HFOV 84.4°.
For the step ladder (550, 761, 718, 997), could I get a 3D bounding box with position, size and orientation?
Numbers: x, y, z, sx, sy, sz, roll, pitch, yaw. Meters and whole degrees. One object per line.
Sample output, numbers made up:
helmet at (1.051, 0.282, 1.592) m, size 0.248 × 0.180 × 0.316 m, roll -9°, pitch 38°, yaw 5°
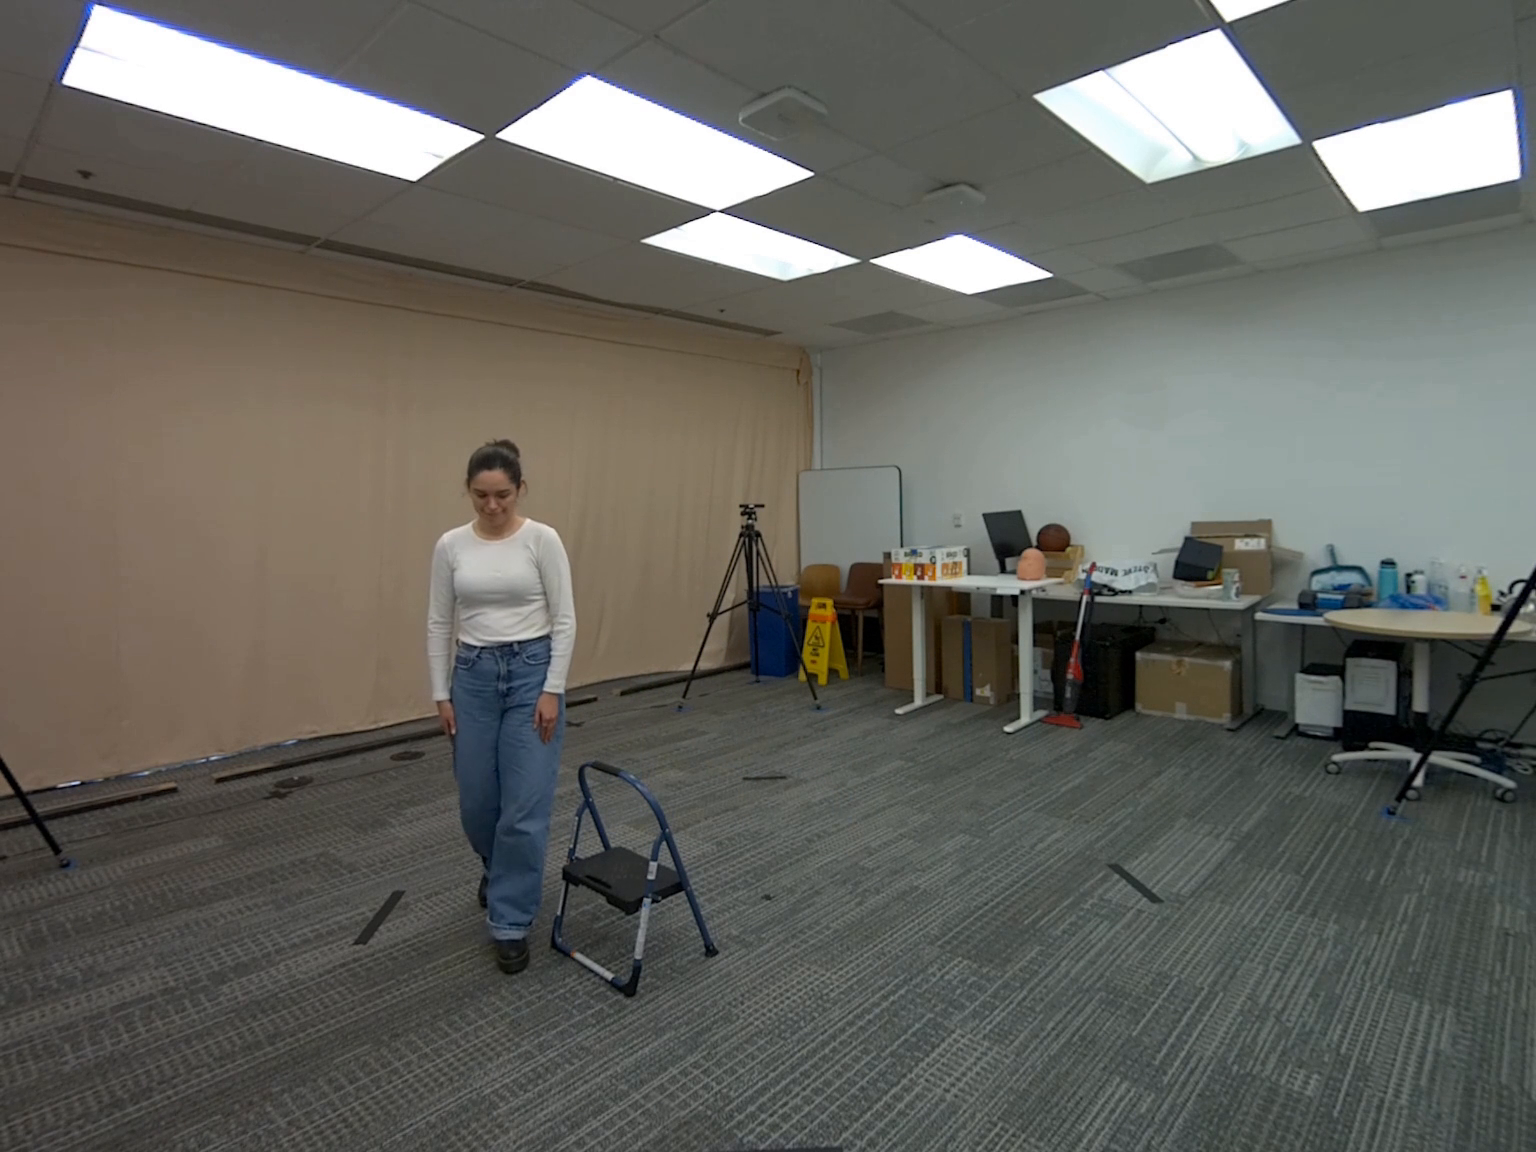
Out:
step ladder at (-0.429, 0.880, 2.632) m, size 0.445 × 0.605 × 0.339 m, roll 1°, pitch 4°, yaw 43°
